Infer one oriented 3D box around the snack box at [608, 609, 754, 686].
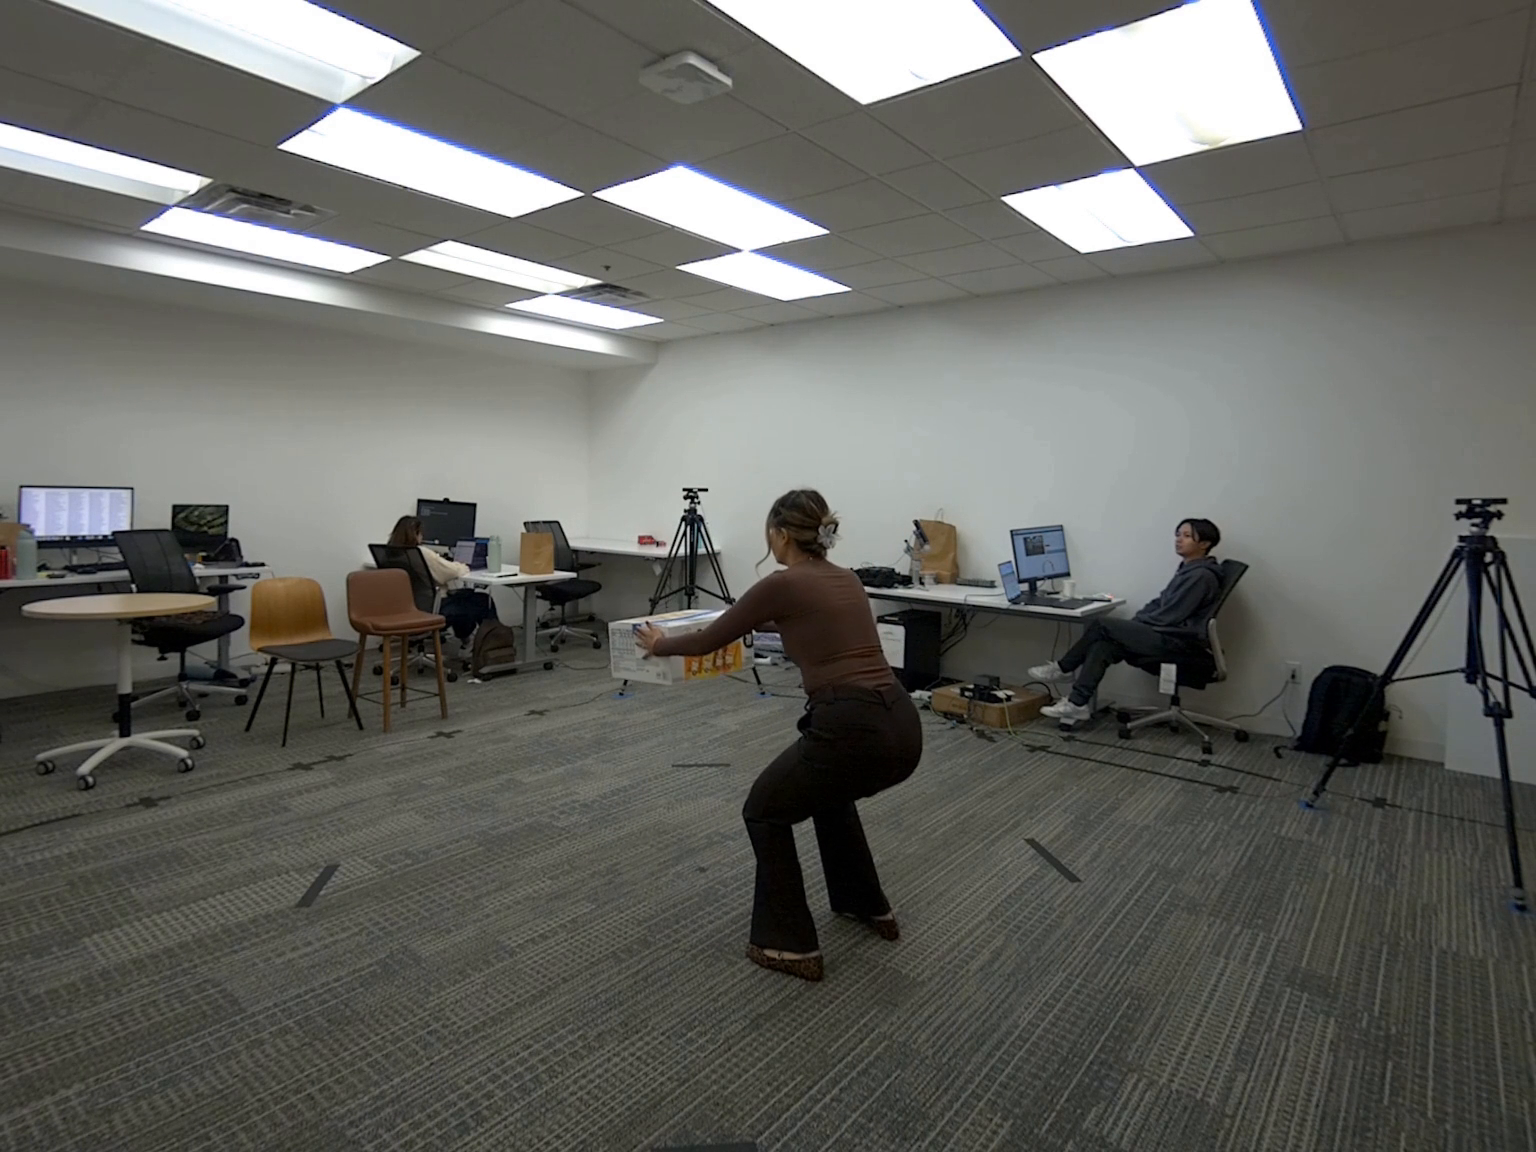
[{"bbox_3d":[-0.329,0.254,3.097,0.351,0.205,0.393,-1,4,44],"label":"snack box"}]
